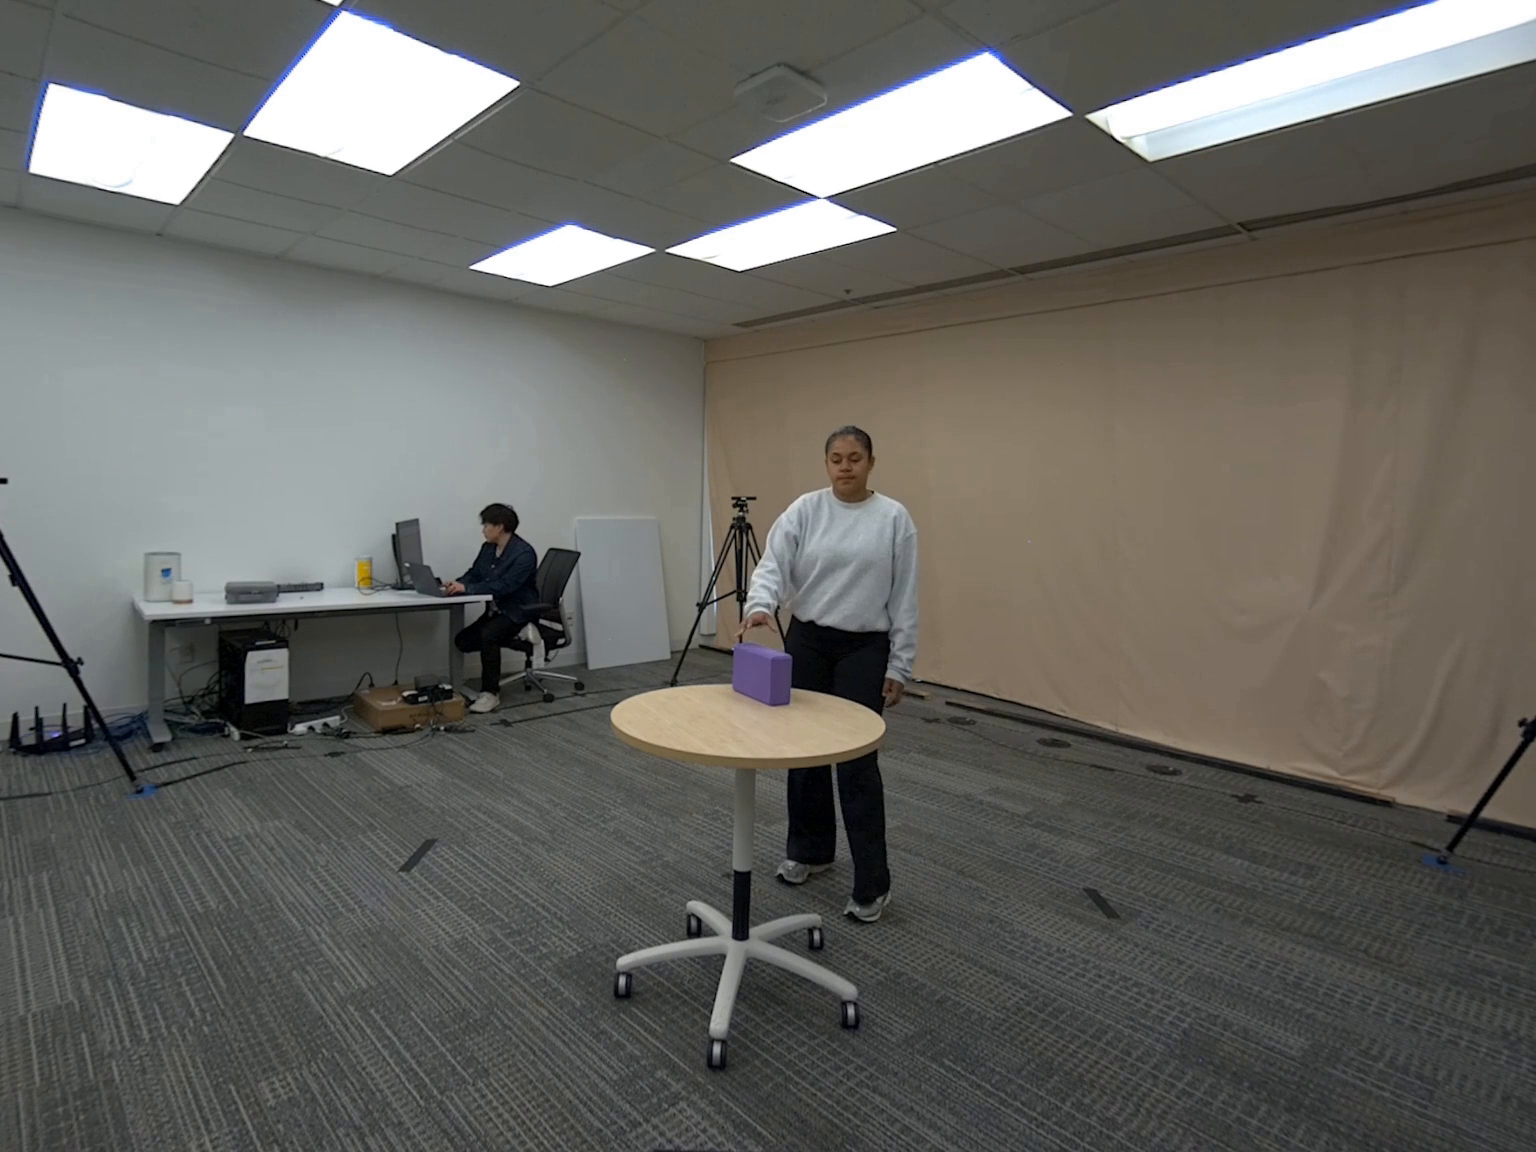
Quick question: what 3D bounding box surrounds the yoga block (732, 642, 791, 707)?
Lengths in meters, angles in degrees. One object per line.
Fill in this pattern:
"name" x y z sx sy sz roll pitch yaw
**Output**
"yoga block" -0.024 0.299 2.578 0.075 0.148 0.235 -1 5 -32
